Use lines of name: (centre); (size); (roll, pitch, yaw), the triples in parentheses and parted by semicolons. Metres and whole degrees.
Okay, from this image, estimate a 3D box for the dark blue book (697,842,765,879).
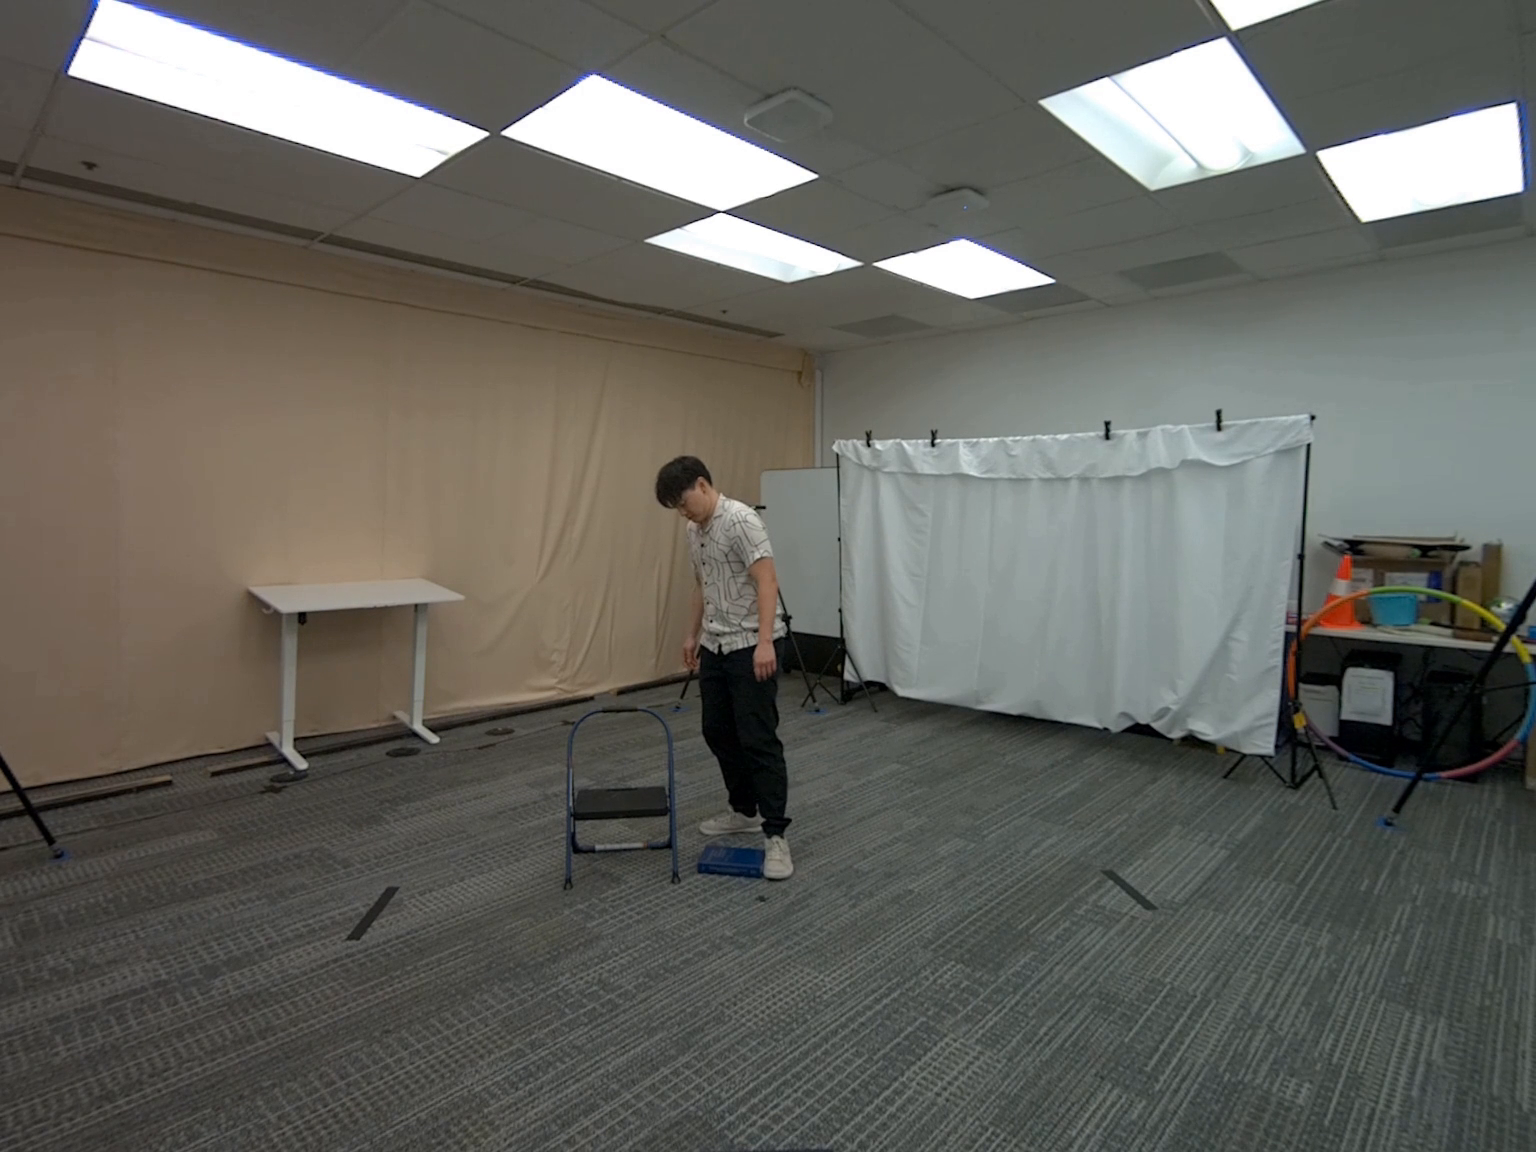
dark blue book: (-0.138, 1.109, 3.241); (0.248, 0.045, 0.162); (1, 4, 10)
